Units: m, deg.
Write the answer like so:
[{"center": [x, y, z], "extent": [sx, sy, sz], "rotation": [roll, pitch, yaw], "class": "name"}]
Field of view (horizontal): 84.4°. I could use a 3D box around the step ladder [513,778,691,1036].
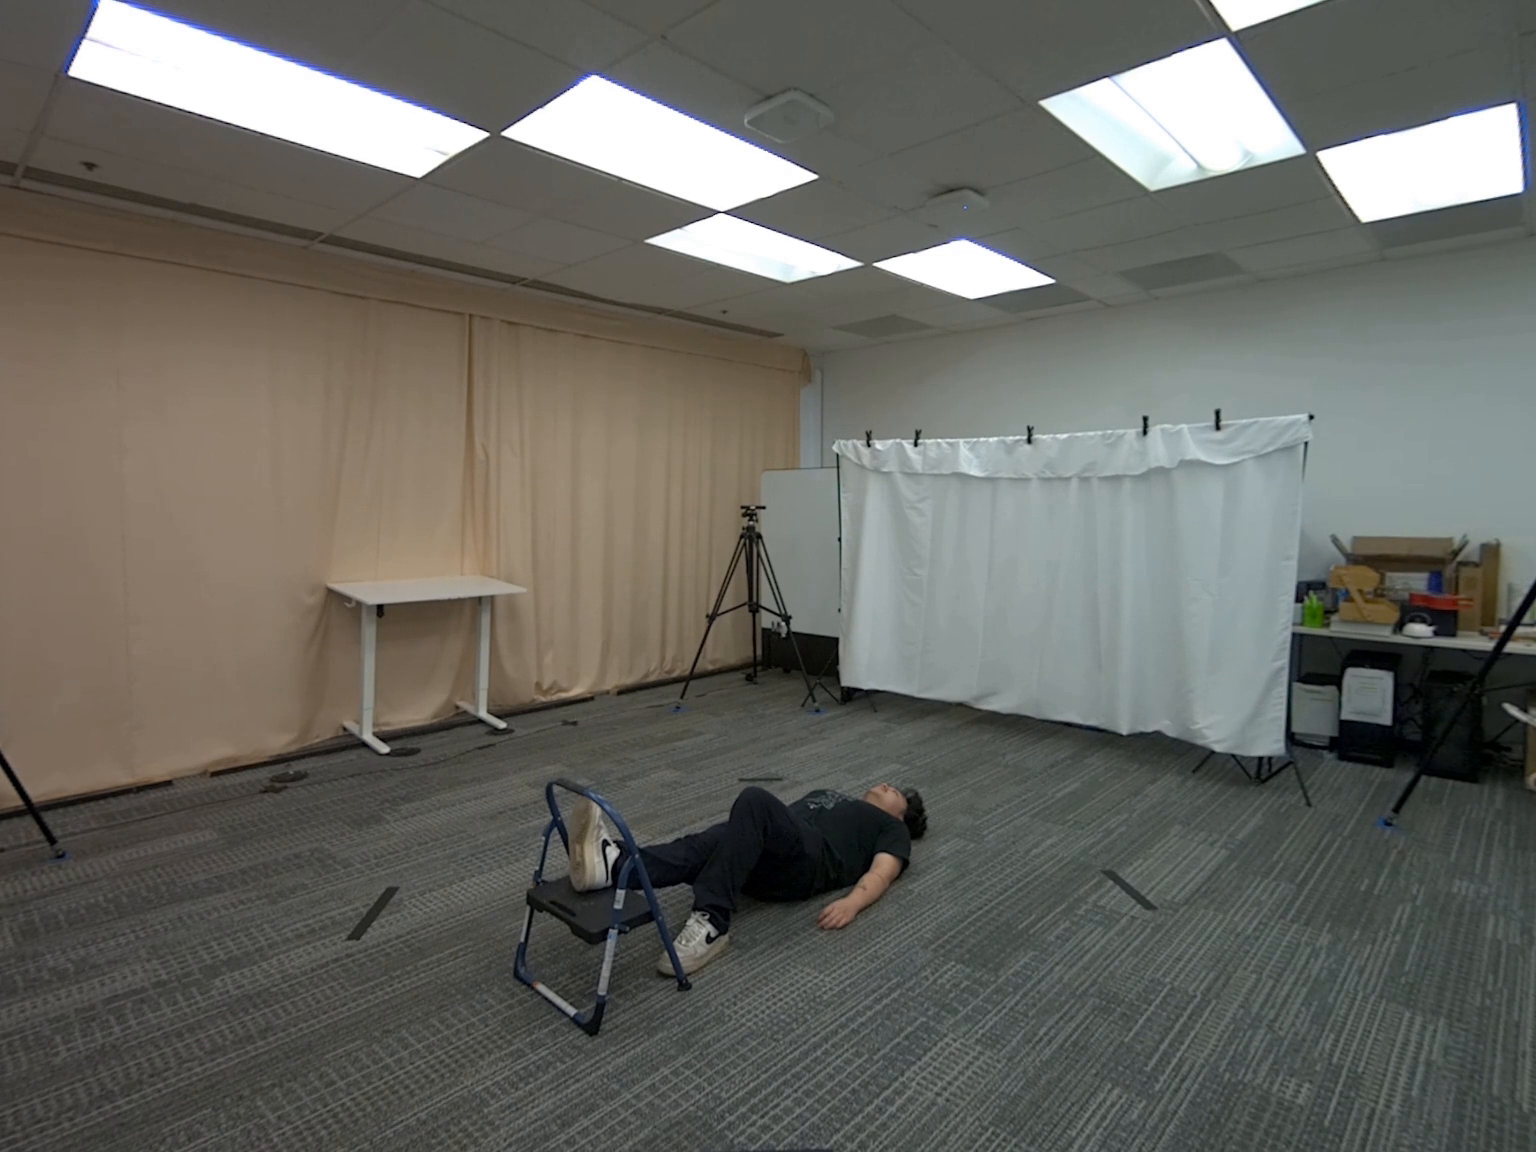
[{"center": [-0.498, 0.894, 2.450], "extent": [0.445, 0.605, 0.338], "rotation": [2, 4, 44], "class": "step ladder"}]
